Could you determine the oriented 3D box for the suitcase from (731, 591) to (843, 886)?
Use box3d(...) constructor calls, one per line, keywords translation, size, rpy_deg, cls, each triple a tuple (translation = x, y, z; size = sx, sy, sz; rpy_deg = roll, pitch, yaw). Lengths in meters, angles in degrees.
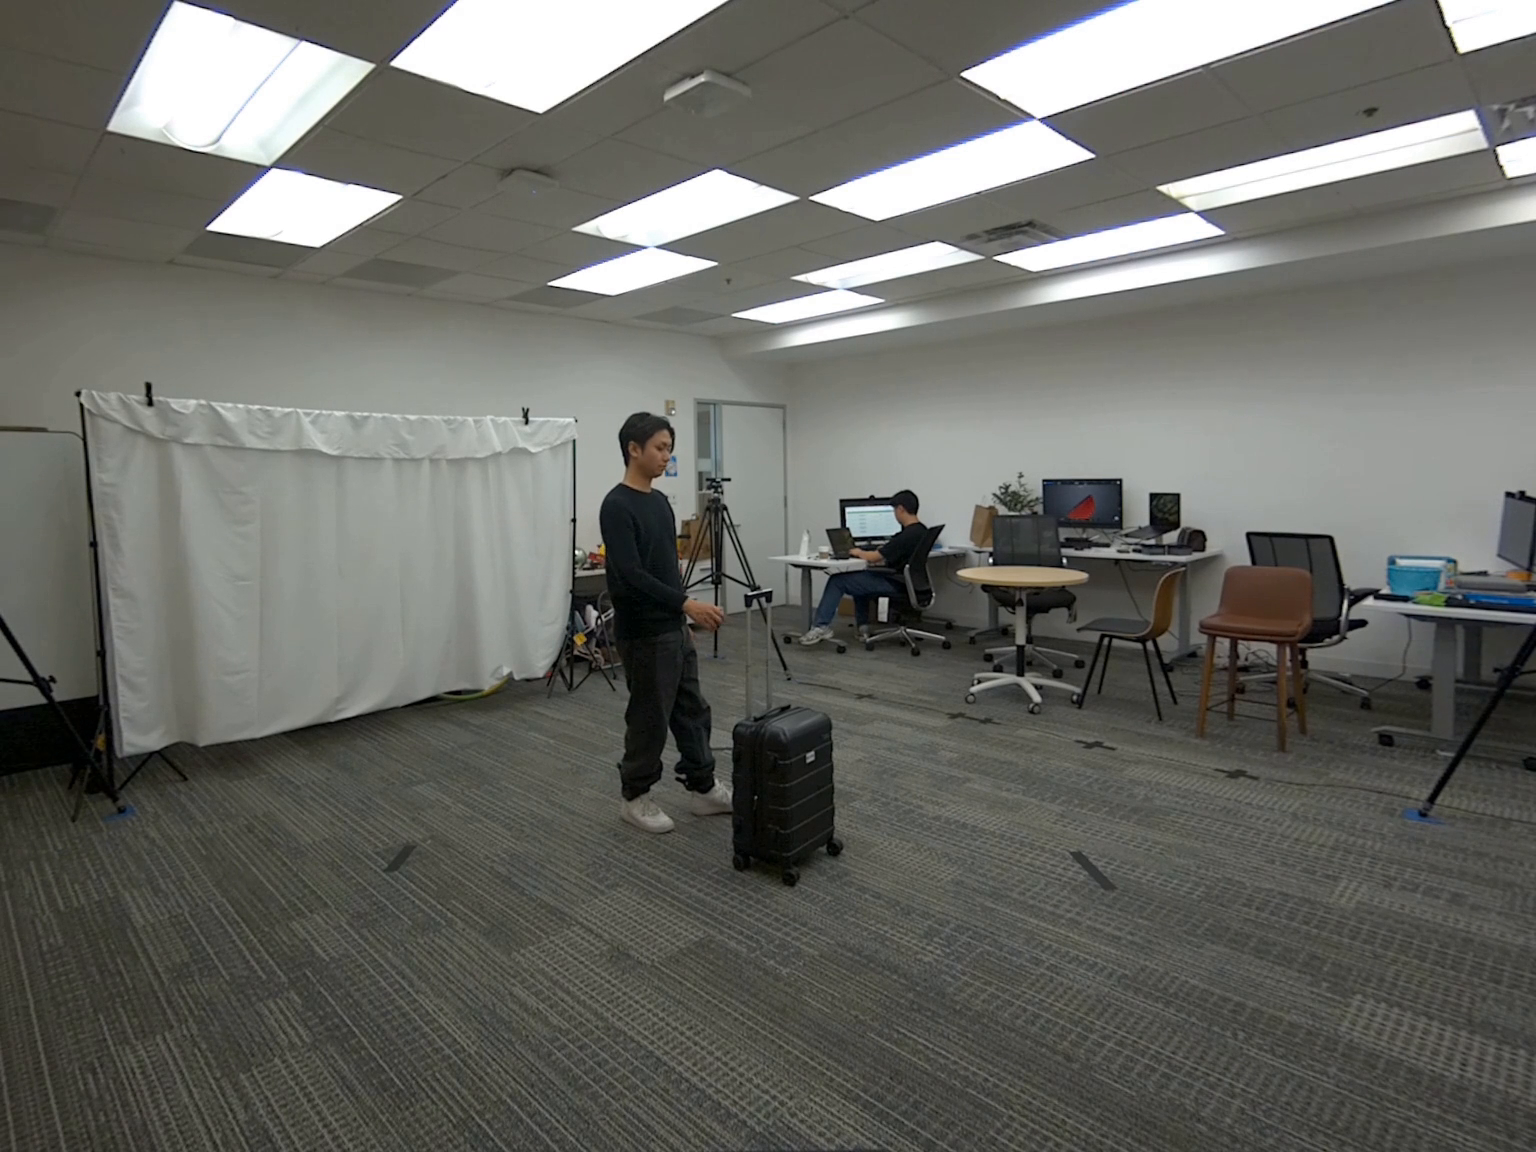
box3d(translation=(0.066, 0.562, 3.088), size=(0.264, 0.974, 0.374), rpy_deg=(3, 6, 35), cls="suitcase")
